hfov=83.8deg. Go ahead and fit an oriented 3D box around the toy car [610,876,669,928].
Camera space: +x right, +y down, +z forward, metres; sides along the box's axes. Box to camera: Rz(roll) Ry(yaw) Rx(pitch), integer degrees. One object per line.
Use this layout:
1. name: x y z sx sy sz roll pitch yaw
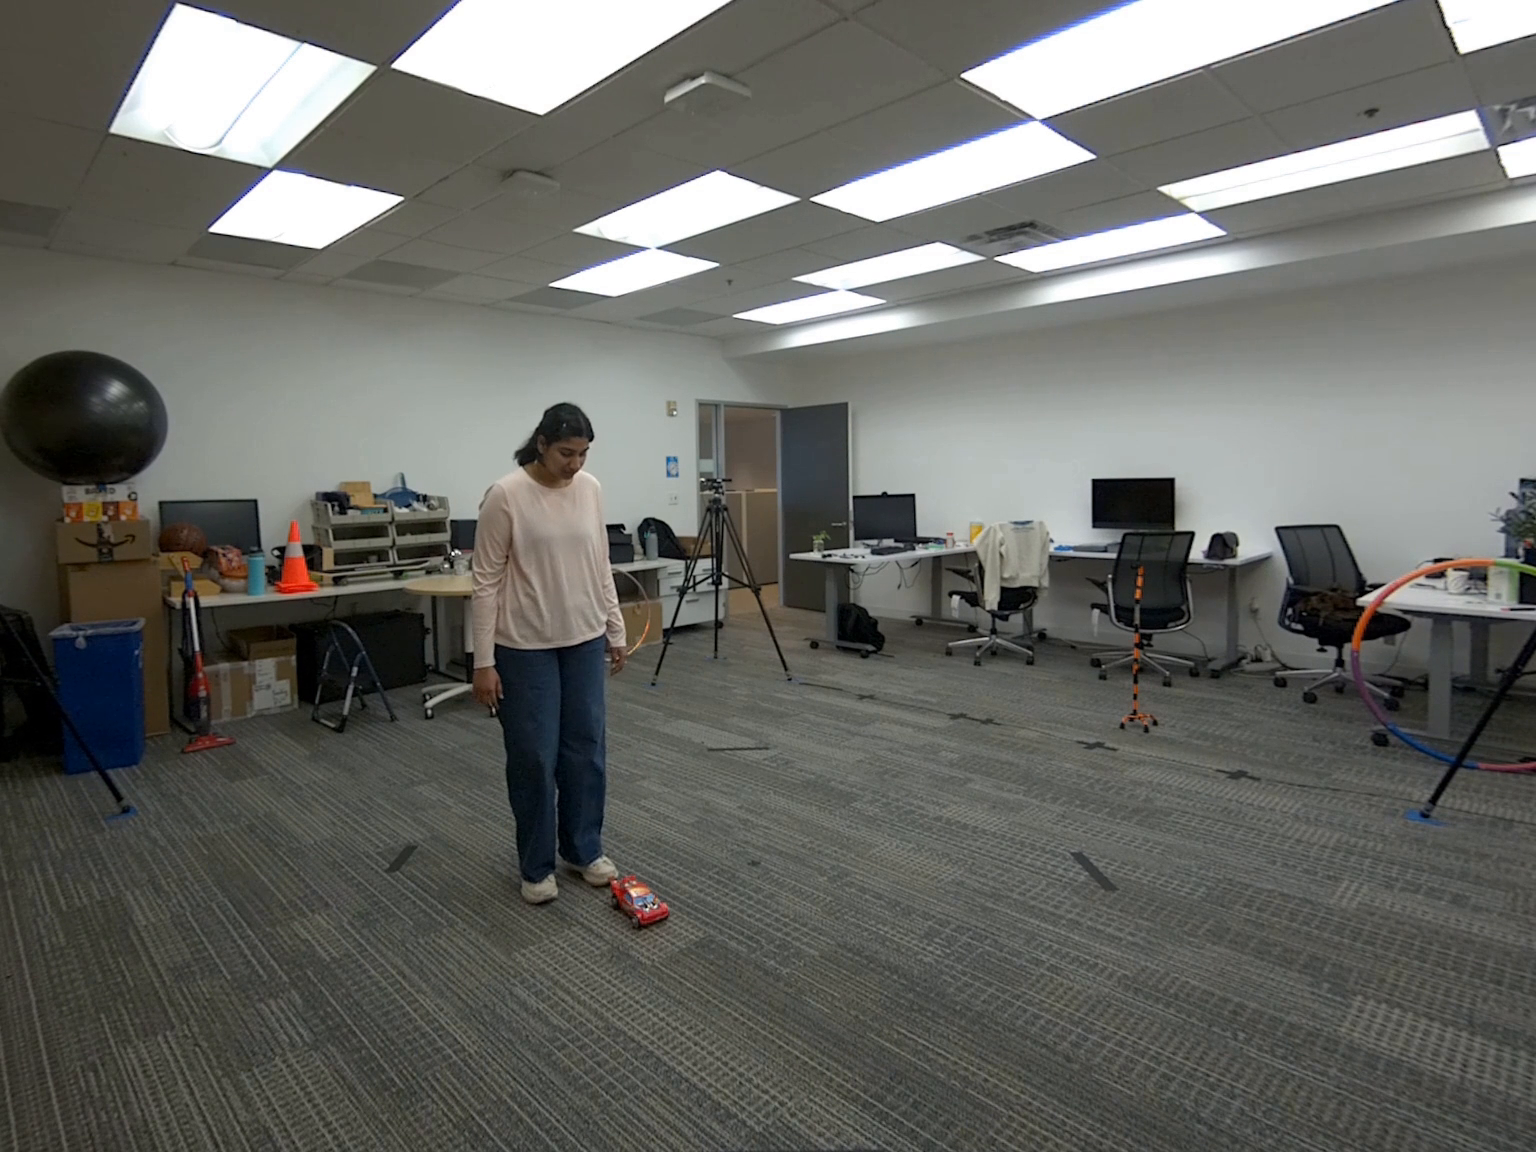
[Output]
1. toy car: -0.425 1.064 2.774 0.127 0.082 0.264 -4 17 -33
